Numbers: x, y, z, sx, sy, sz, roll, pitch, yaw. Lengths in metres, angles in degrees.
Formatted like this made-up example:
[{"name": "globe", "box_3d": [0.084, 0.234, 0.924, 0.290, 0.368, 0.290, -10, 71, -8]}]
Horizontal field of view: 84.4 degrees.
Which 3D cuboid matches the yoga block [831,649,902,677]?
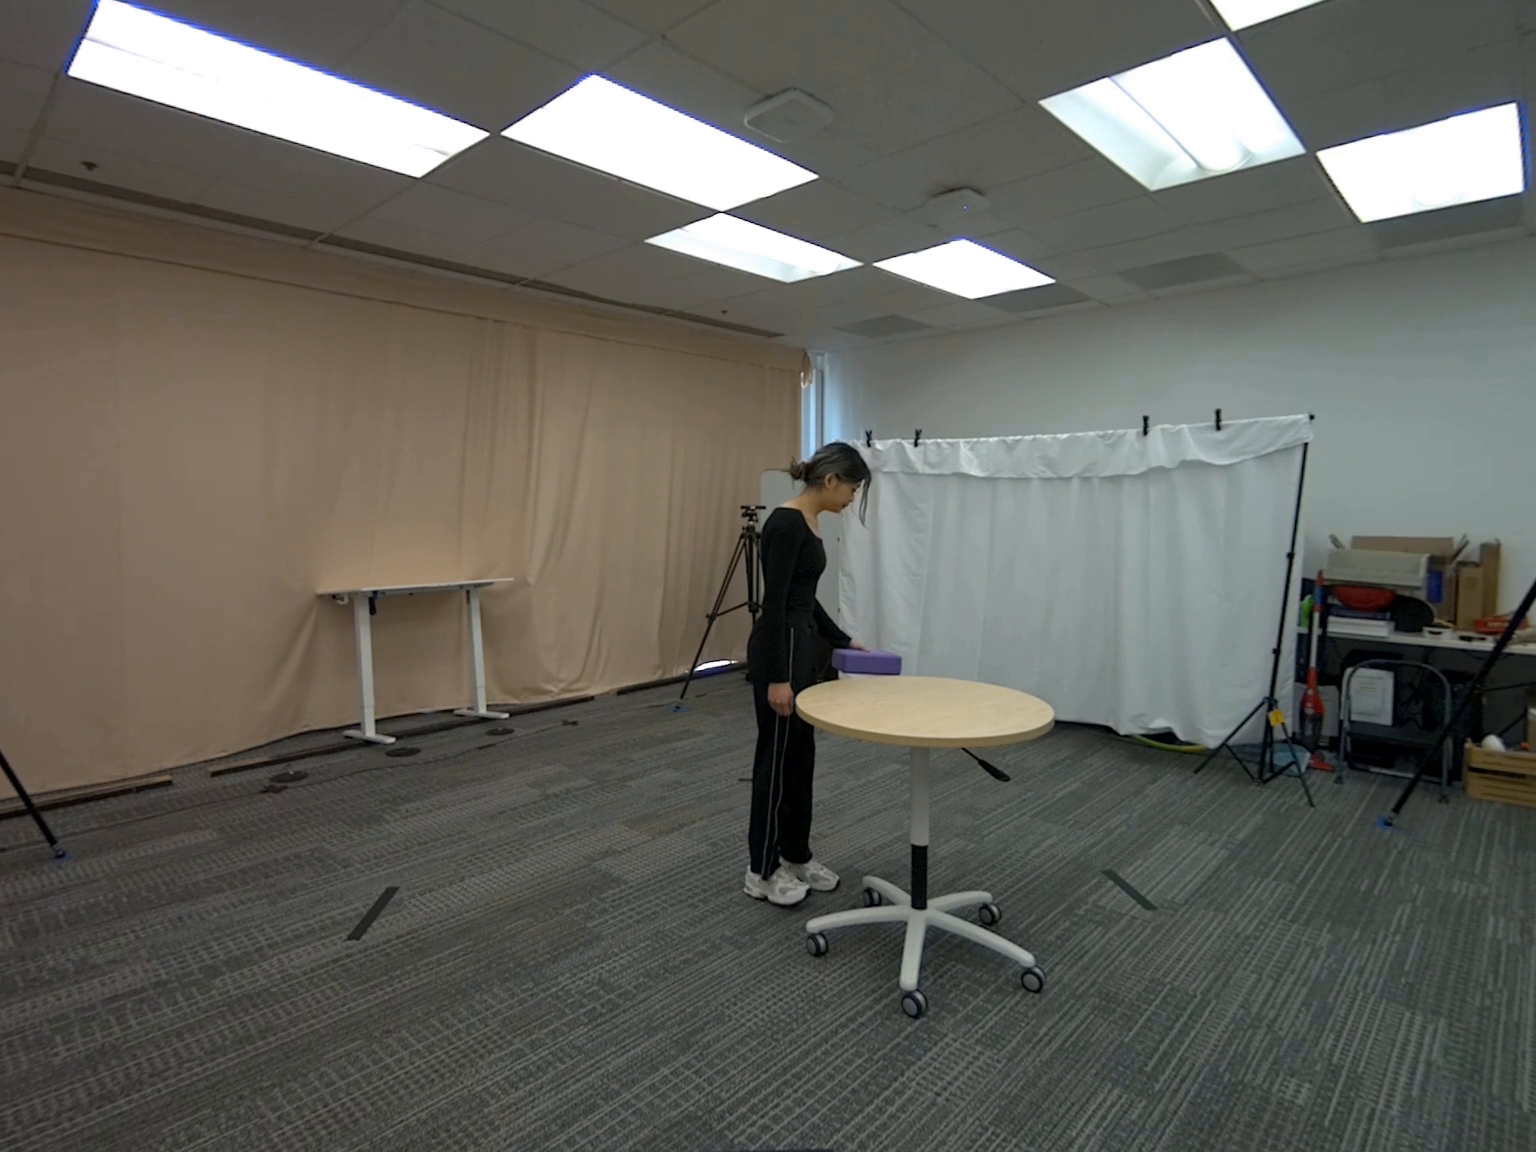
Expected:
[{"name": "yoga block", "box_3d": [0.379, 0.333, 3.204, 0.226, 0.076, 0.151, 3, 2, -12]}]
